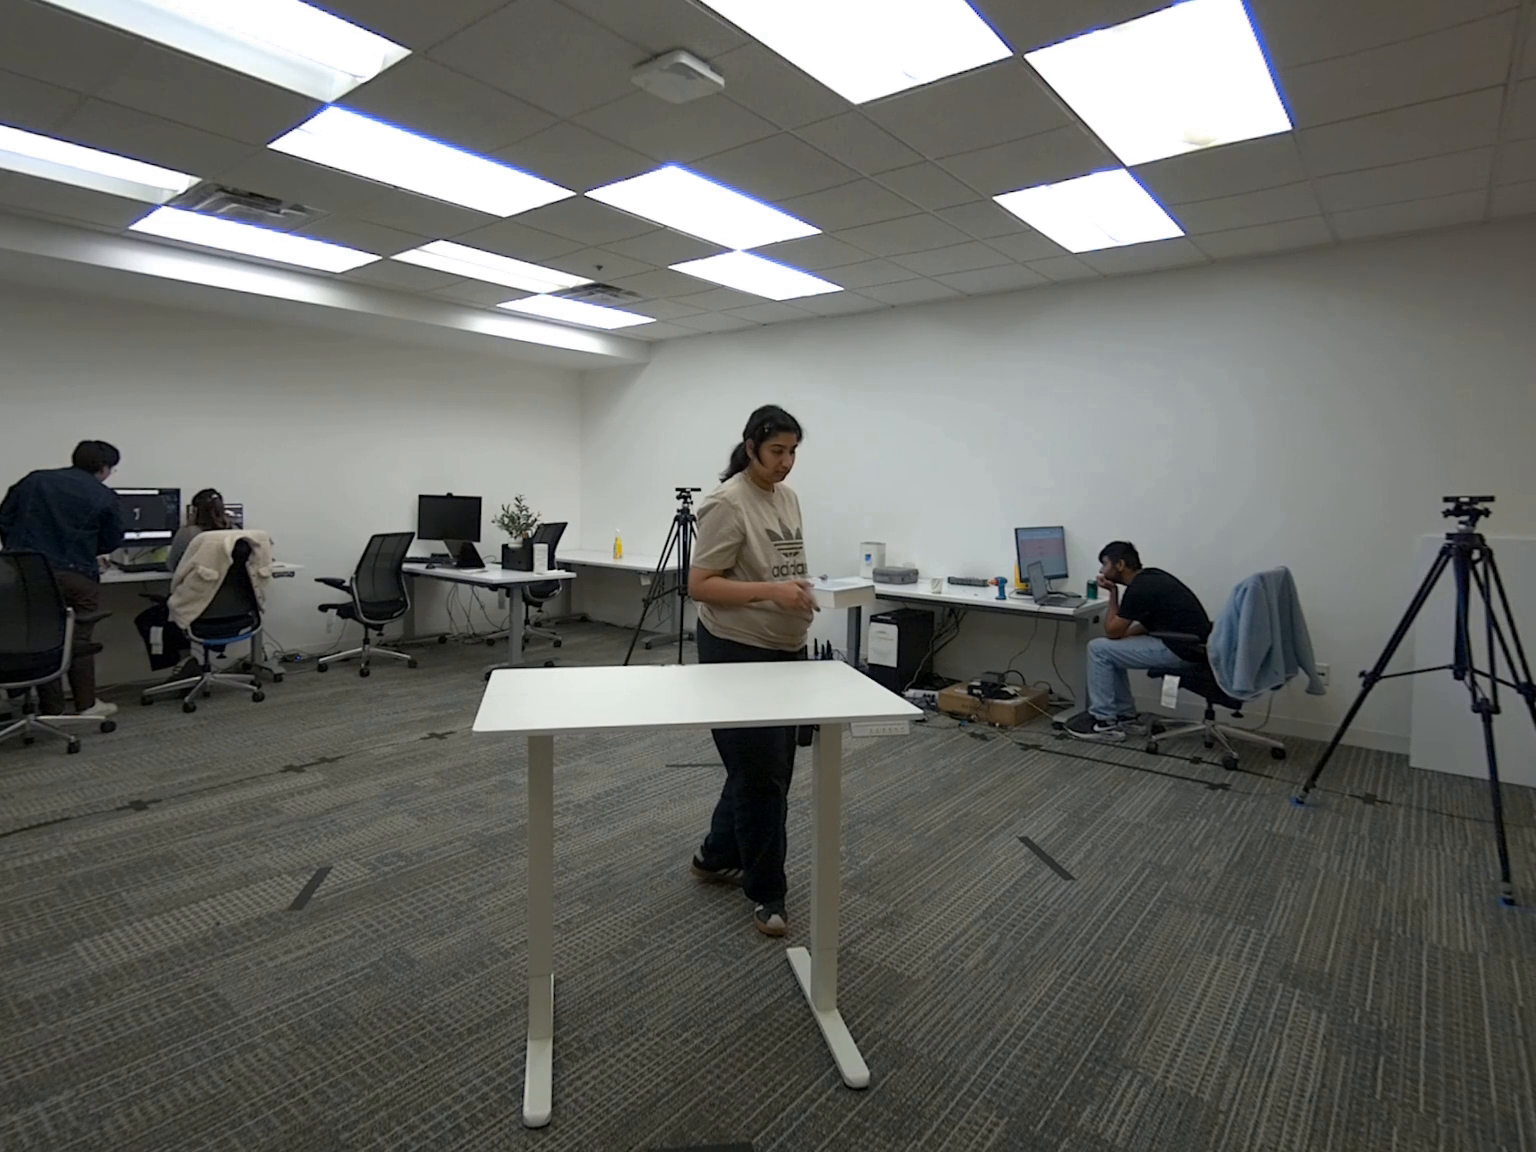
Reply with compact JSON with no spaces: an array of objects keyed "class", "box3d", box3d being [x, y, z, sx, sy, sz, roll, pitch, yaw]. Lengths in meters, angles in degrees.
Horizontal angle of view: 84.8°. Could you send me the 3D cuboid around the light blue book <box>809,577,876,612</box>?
[{"class":"light blue book","box3d":[0.179,0.057,2.621,0.253,0.059,0.198,-6,9,-43]}]
